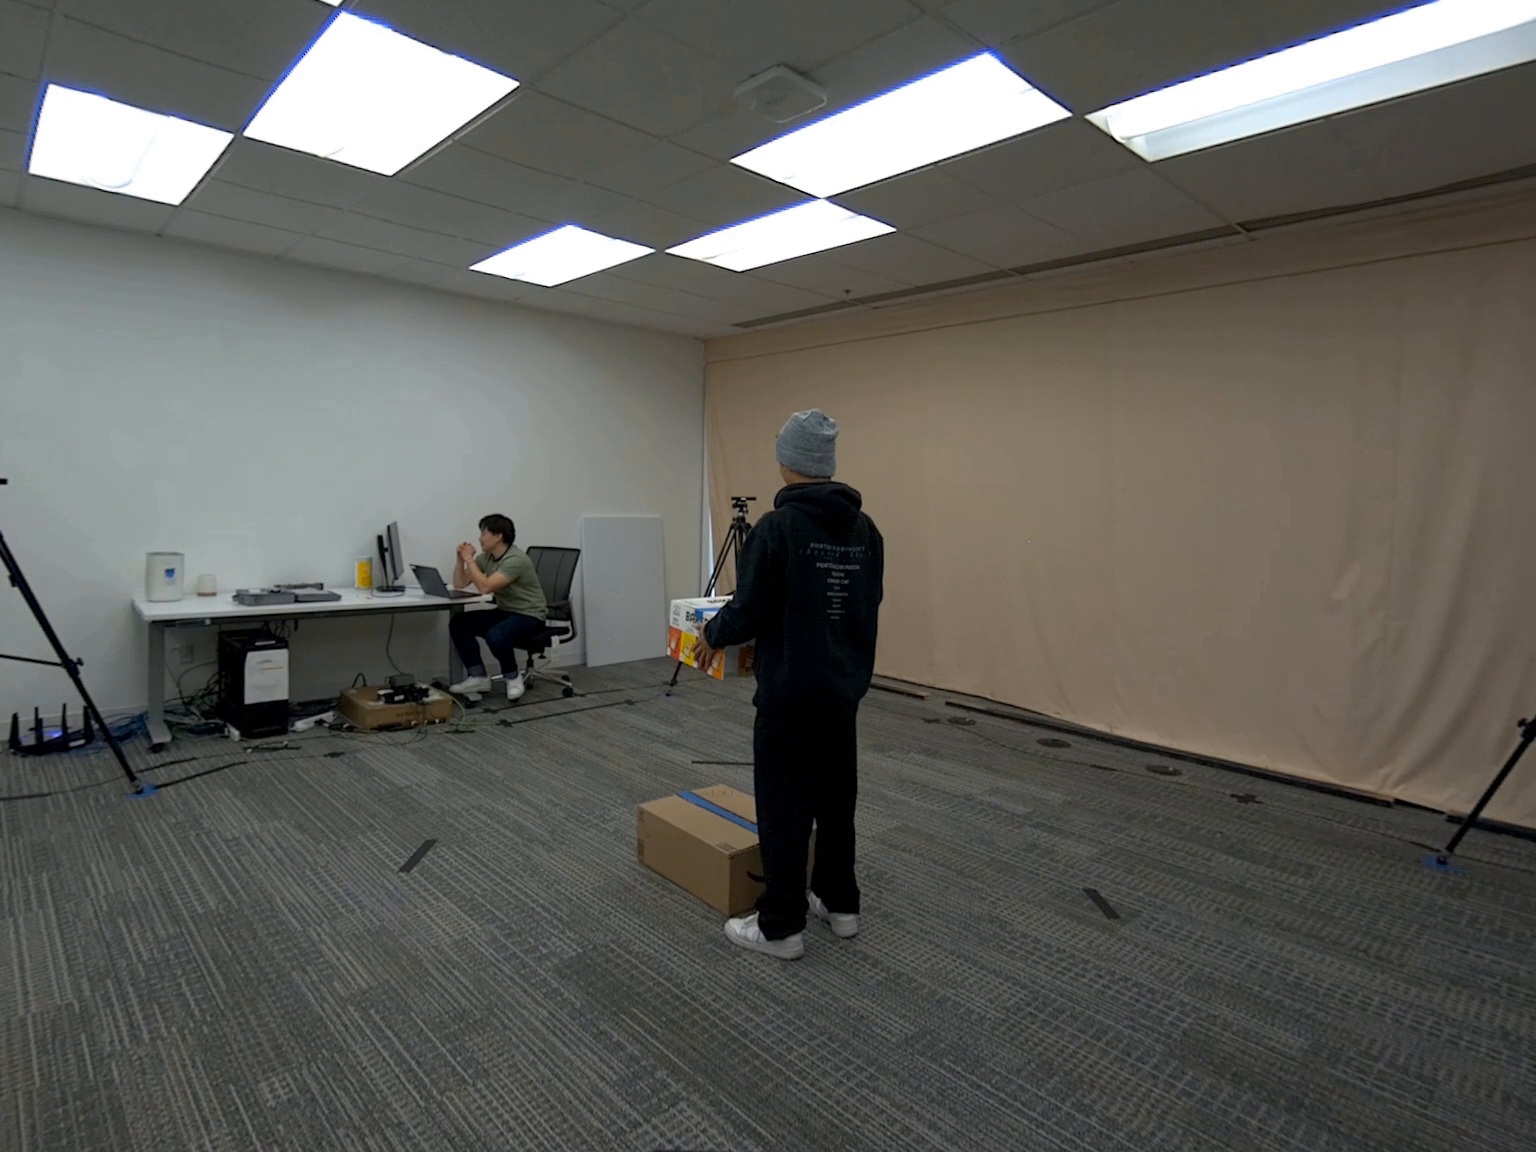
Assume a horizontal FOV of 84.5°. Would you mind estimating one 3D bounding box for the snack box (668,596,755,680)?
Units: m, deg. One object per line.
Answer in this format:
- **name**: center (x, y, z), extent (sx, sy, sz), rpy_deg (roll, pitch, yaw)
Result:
- **snack box**: center (-0.104, 0.209, 3.022), extent (0.396, 0.204, 0.350), rpy_deg (-3, 13, -38)
